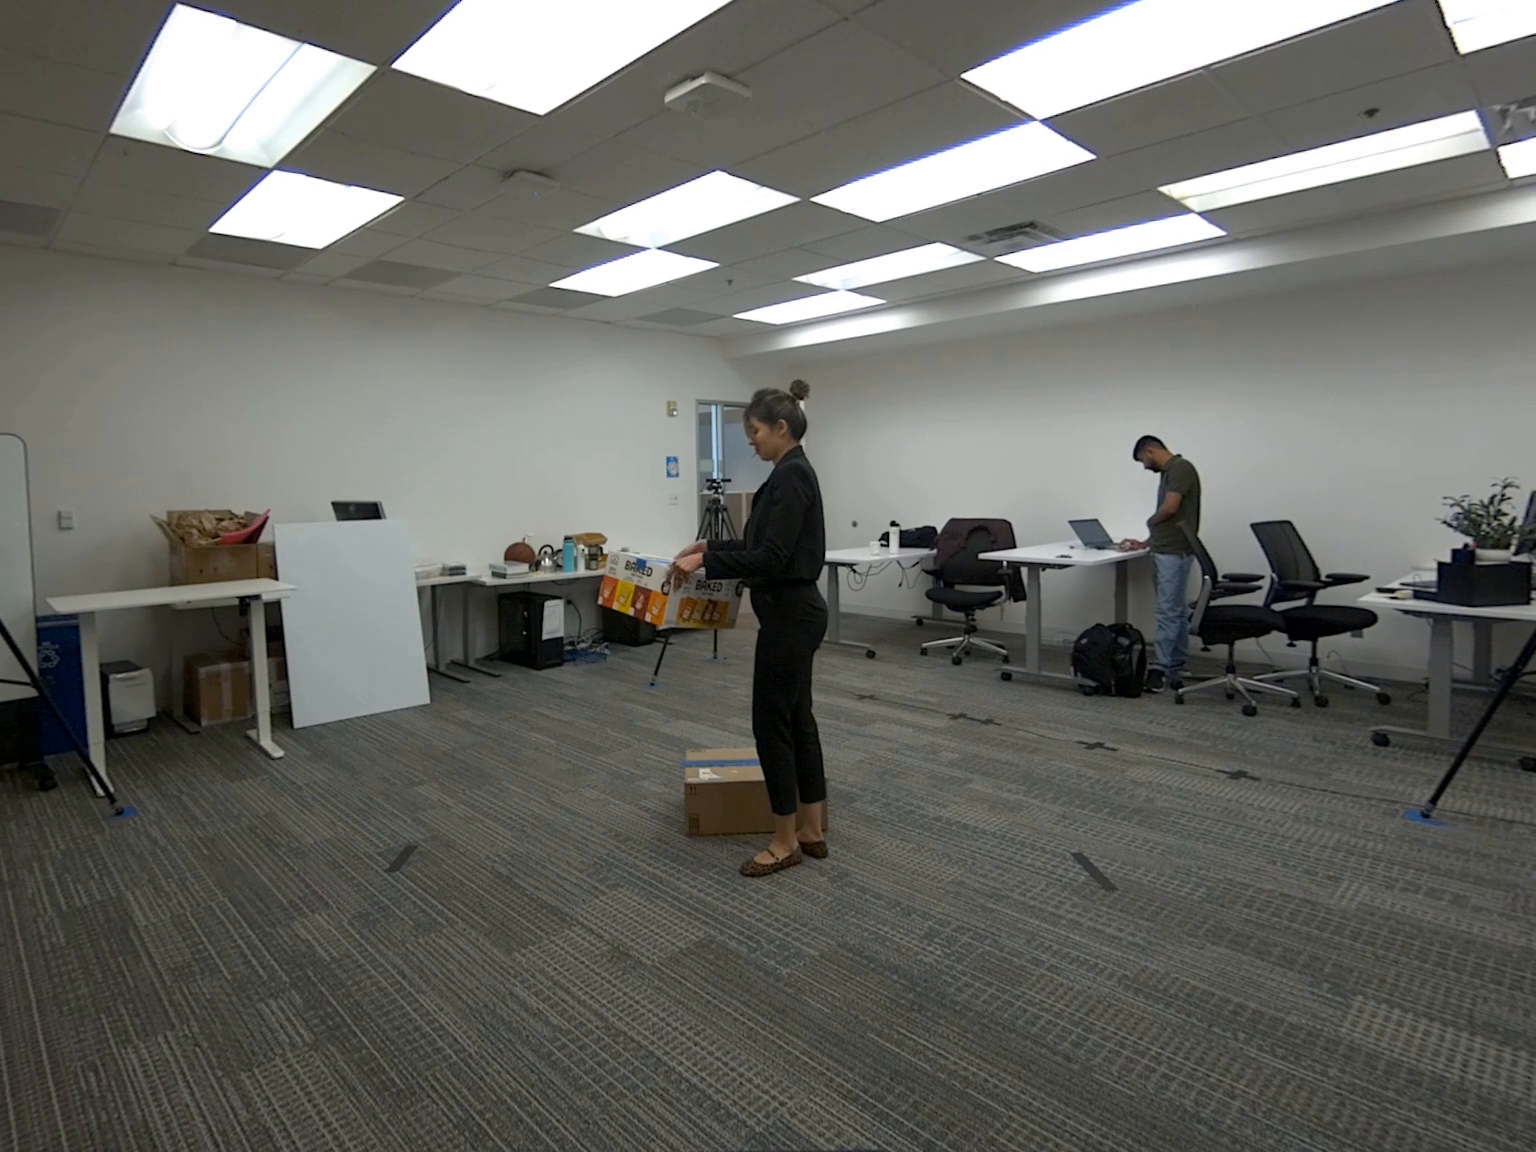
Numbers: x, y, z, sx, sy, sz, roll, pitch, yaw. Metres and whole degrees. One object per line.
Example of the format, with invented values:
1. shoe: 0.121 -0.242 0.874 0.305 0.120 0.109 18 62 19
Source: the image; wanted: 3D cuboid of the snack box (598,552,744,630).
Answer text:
1. snack box: -0.346 0.053 3.157 0.352 0.205 0.392 15 4 37
